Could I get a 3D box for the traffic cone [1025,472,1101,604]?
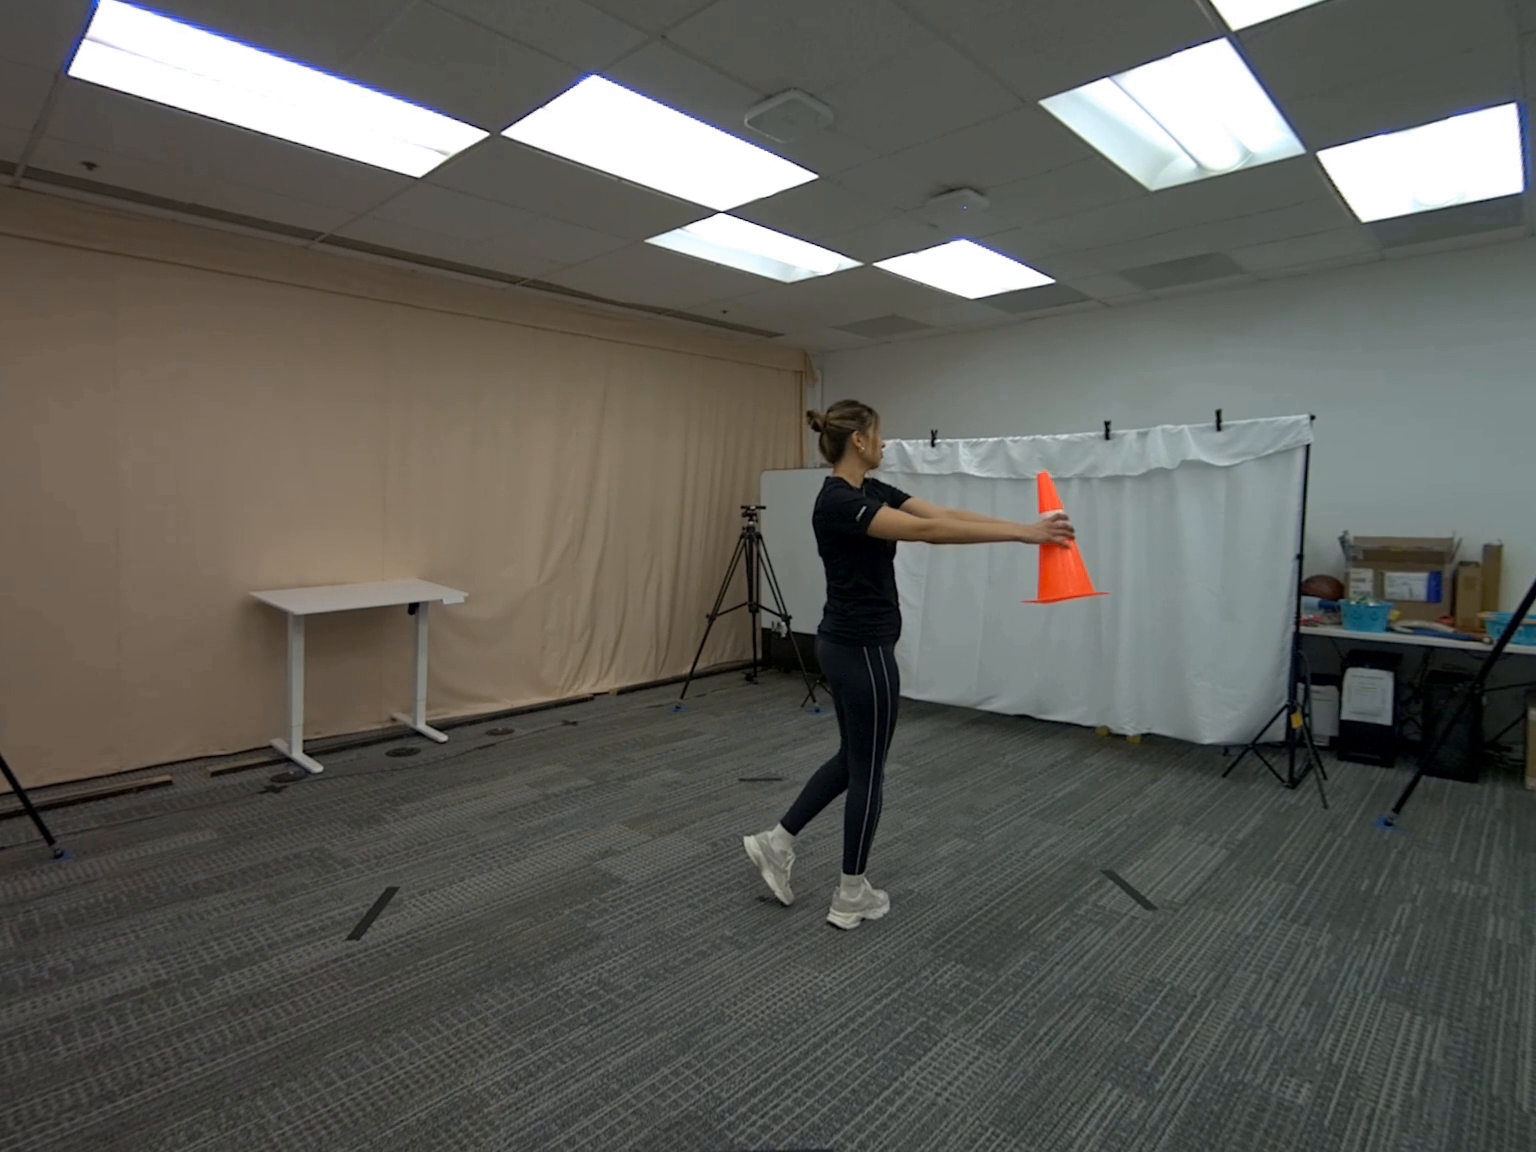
[{"bbox_3d":[0.864,-0.119,2.500,0.209,0.386,0.198,-11,-8,19],"label":"traffic cone"}]
